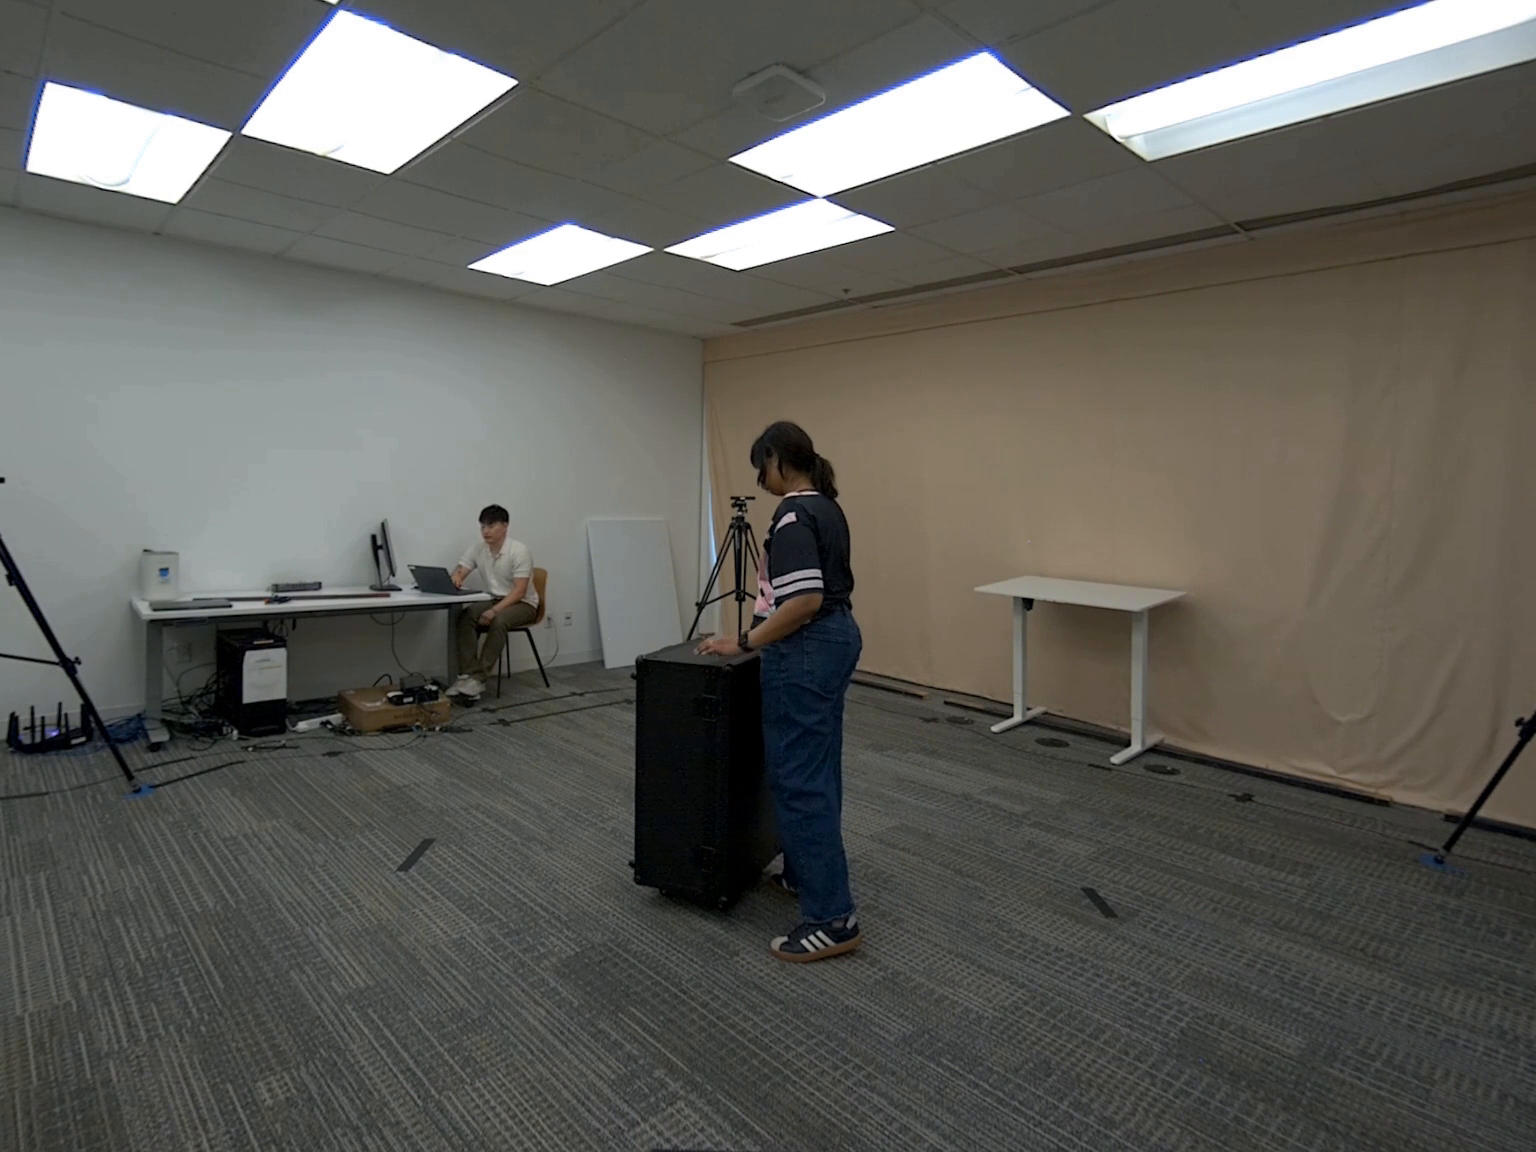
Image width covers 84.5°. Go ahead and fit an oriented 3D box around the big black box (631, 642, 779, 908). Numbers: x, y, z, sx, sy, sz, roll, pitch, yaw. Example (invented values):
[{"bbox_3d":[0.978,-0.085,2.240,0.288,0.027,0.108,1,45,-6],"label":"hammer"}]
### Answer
[{"bbox_3d":[-0.216,0.693,2.991,0.403,0.860,0.513,2,3,24],"label":"big black box"}]
